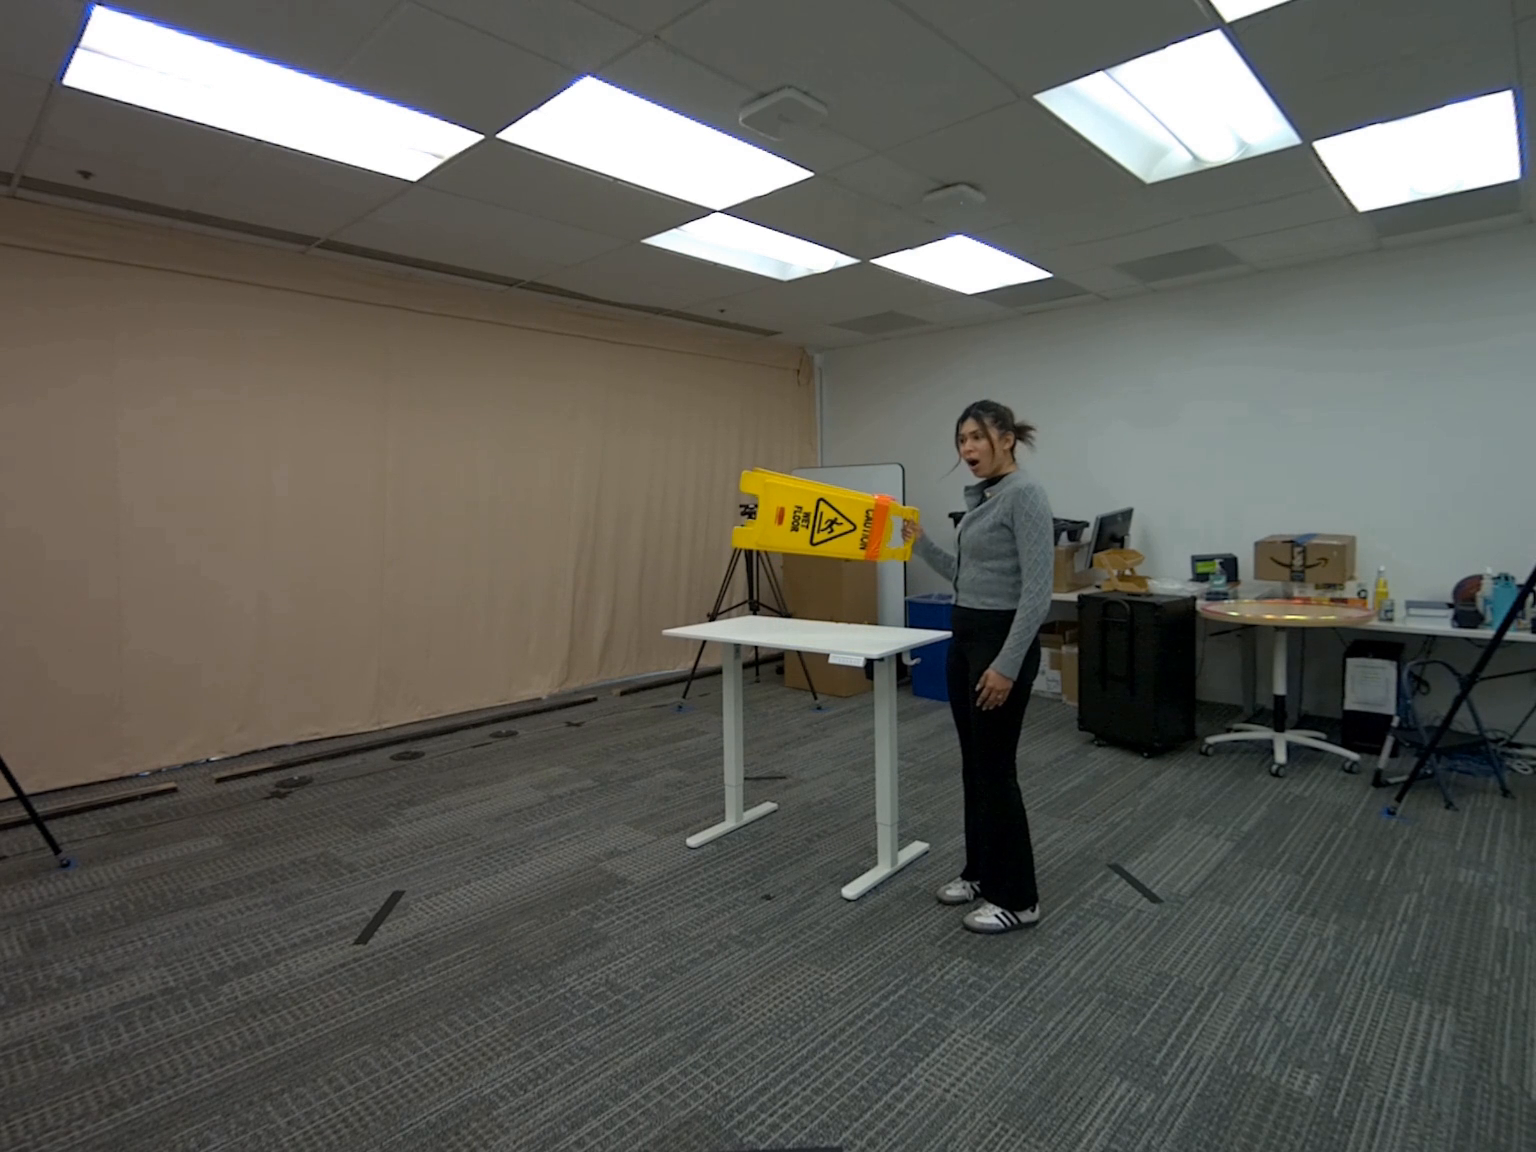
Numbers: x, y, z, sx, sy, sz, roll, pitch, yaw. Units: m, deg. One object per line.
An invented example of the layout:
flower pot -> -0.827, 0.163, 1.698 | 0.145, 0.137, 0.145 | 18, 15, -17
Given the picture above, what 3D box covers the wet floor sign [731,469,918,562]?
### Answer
wet floor sign -> 0.229, -0.204, 3.125 | 0.653, 0.281, 0.288 | 11, 9, 8
